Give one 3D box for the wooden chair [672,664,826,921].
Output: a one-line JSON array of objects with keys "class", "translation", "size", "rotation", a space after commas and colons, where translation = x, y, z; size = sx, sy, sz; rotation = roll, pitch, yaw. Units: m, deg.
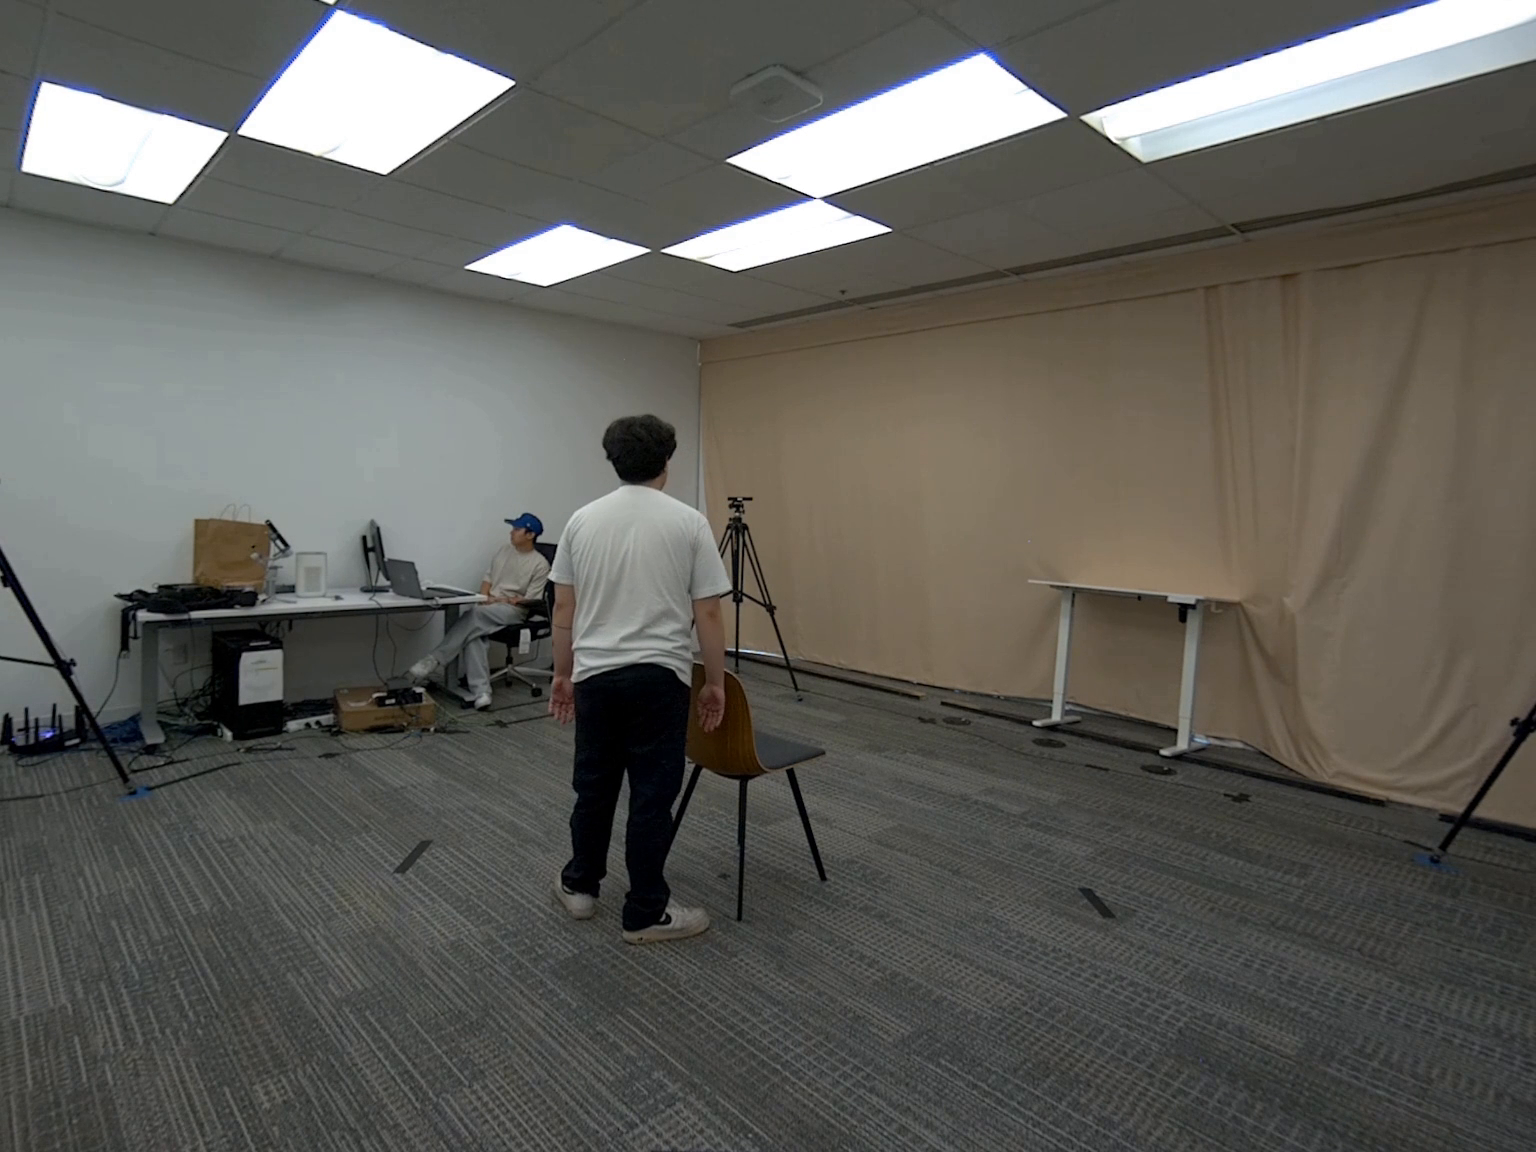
[{"class": "wooden chair", "translation": [-0.091, 0.684, 3.064], "size": [0.490, 0.873, 0.512], "rotation": [4, 8, 44]}]
